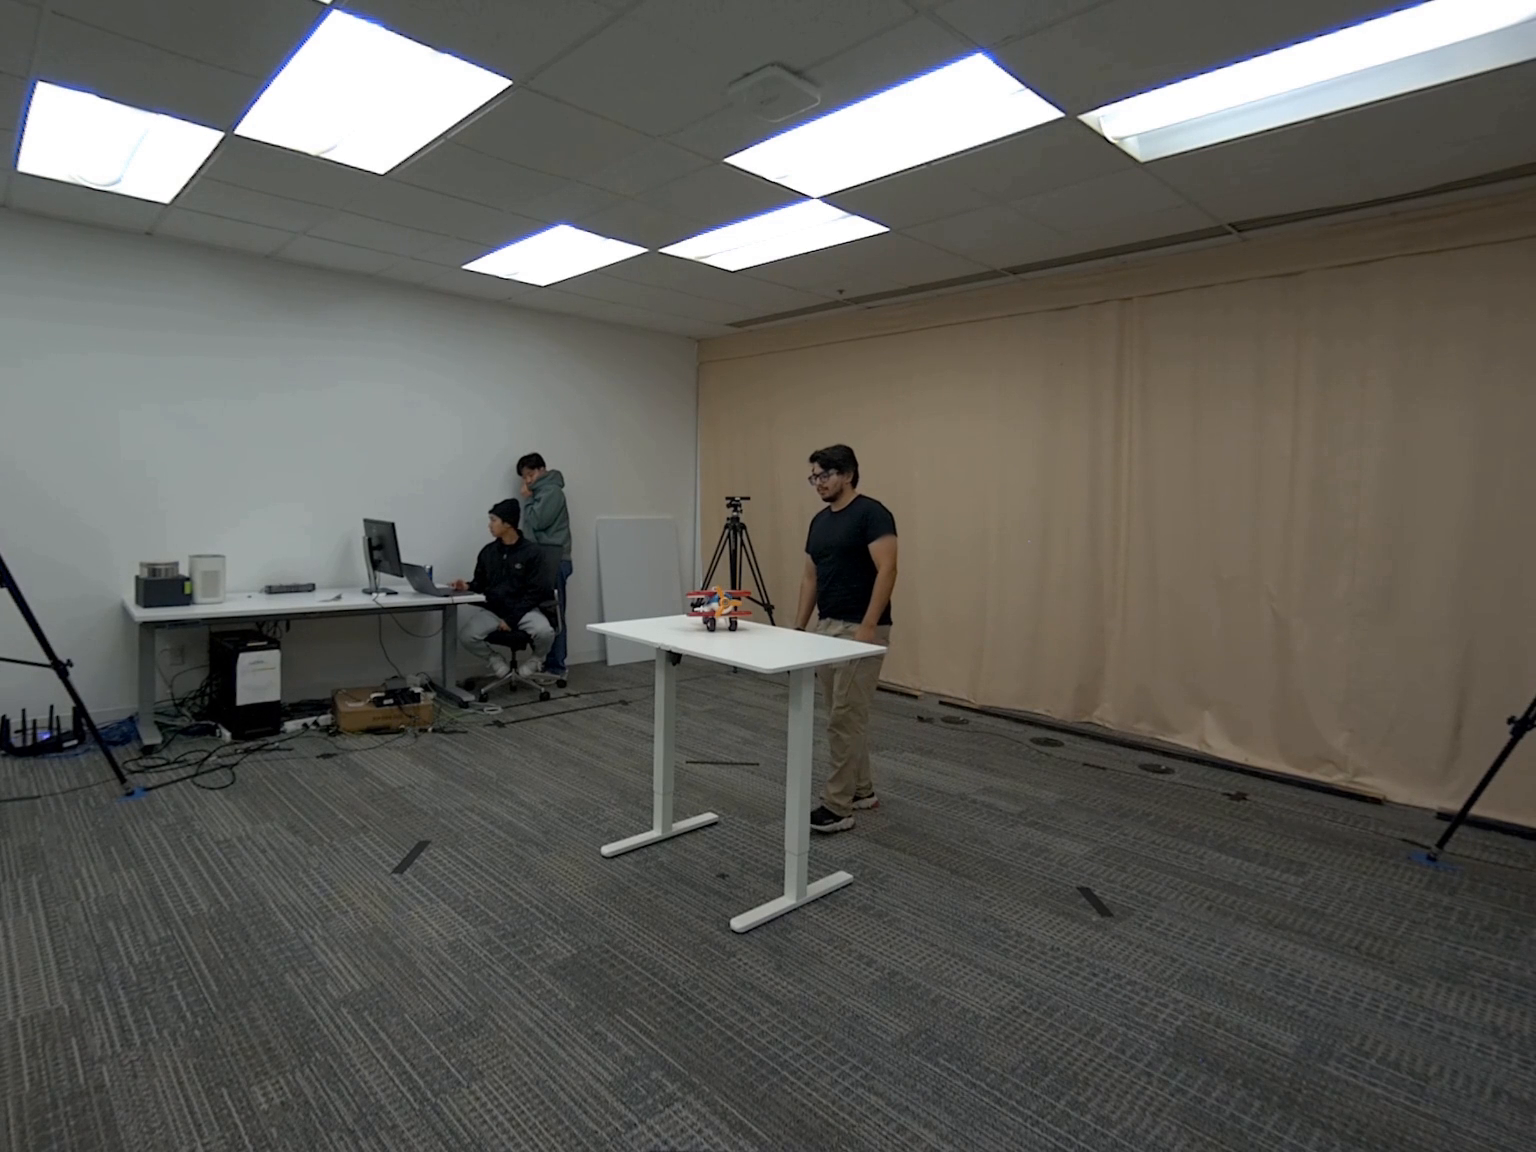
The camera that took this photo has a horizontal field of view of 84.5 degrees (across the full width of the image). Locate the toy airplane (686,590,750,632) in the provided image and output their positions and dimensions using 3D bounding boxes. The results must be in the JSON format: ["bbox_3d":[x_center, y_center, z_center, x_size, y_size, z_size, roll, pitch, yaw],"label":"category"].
[{"bbox_3d":[-0.234,0.125,3.283,0.245,0.156,0.266,-3,6,-44],"label":"toy airplane"}]
